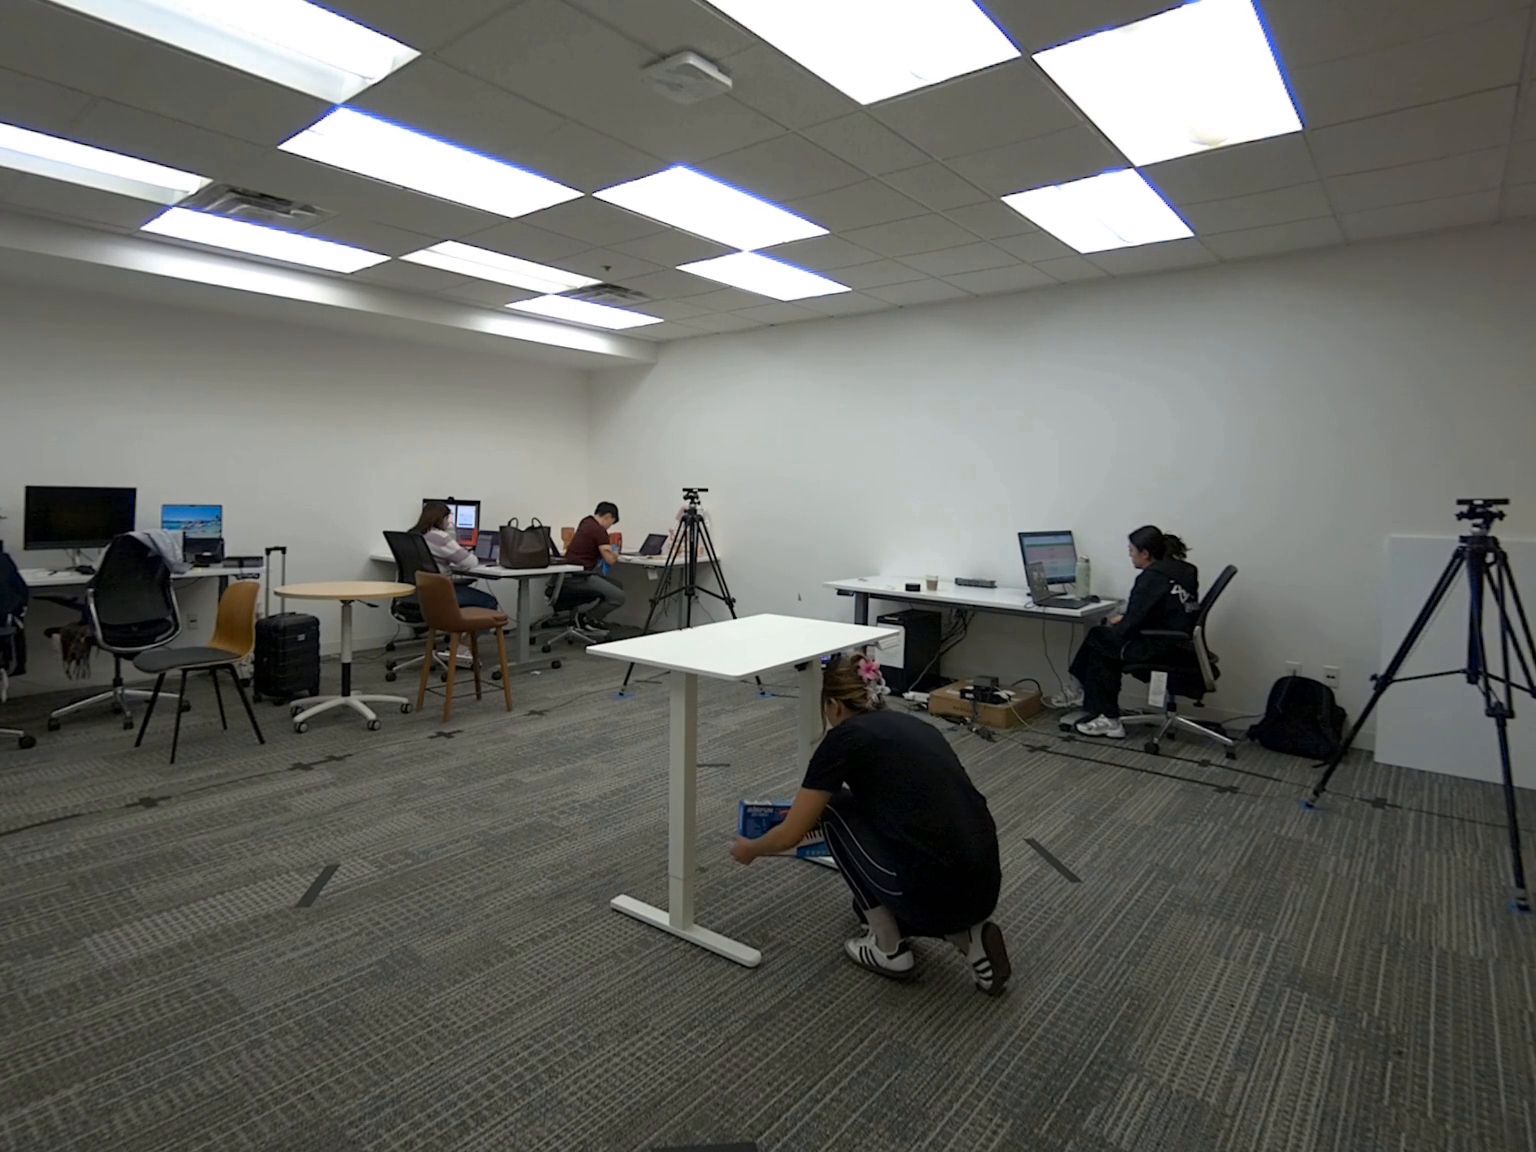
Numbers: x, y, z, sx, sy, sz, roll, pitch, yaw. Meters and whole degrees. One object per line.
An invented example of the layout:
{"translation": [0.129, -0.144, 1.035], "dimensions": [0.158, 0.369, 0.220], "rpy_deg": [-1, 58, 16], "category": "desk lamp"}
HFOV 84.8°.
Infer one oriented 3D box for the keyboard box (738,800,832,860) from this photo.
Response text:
{"translation": [0.111, 0.847, 2.890], "dimensions": [0.430, 0.176, 0.060], "rpy_deg": [4, -1, -13], "category": "keyboard box"}
